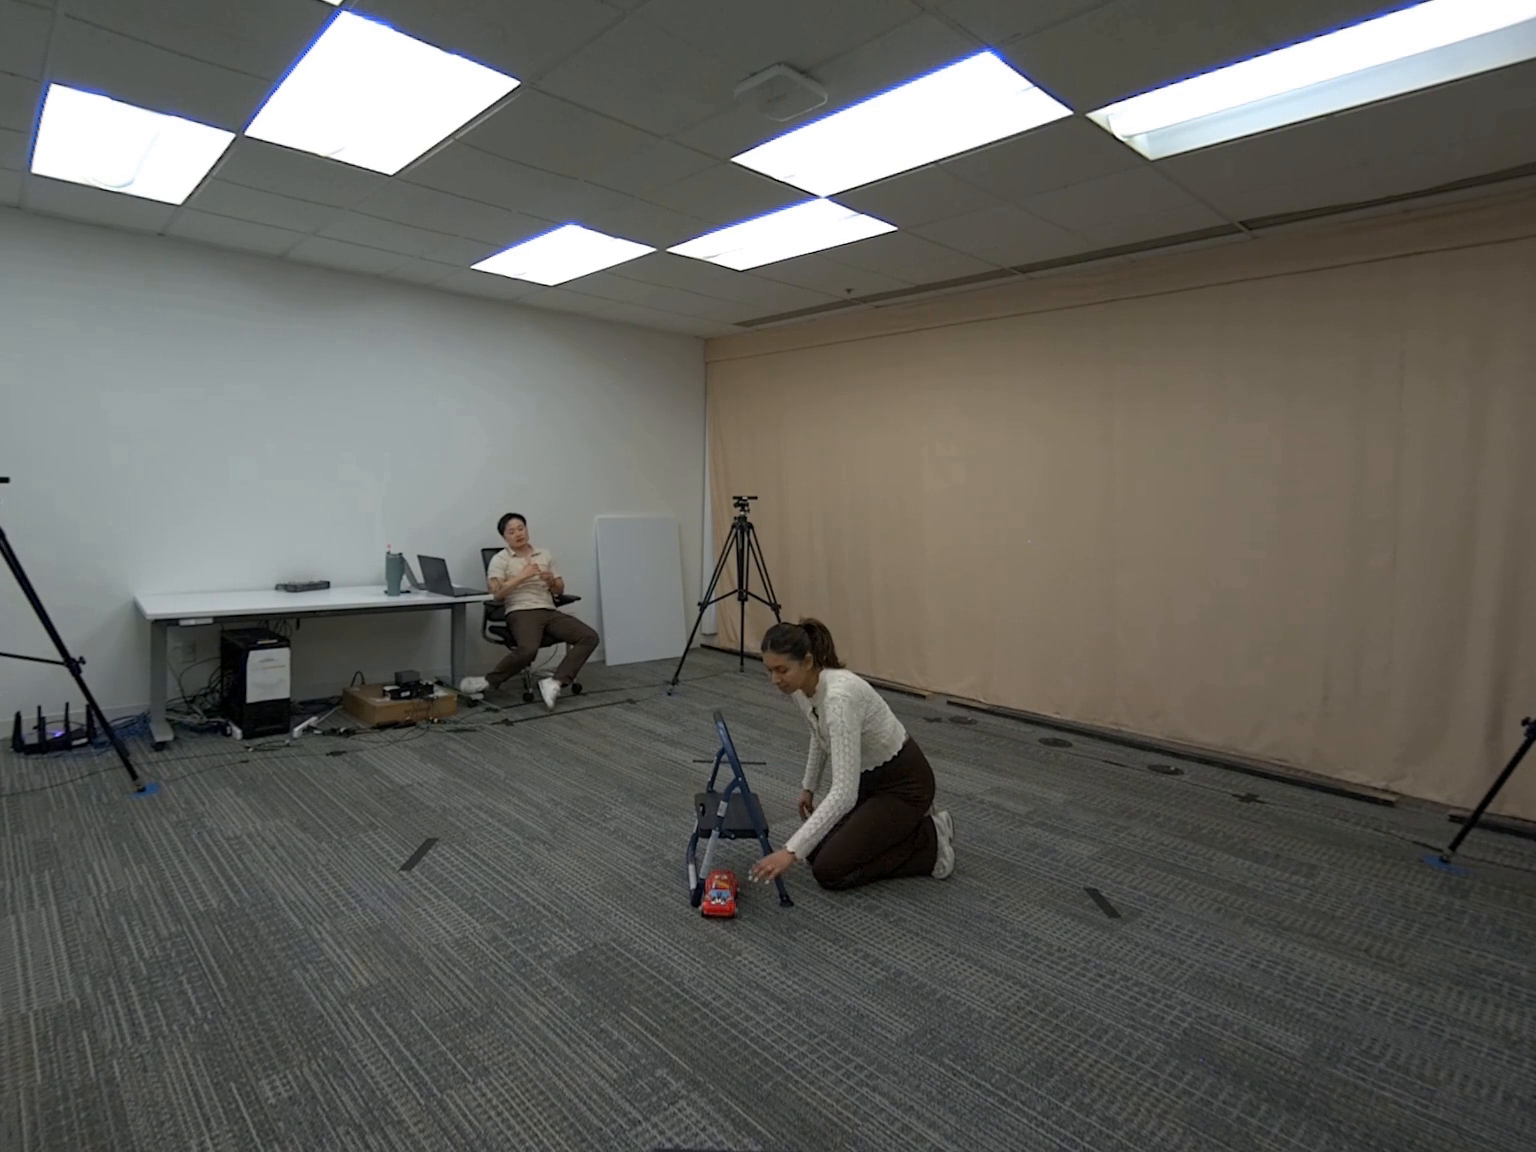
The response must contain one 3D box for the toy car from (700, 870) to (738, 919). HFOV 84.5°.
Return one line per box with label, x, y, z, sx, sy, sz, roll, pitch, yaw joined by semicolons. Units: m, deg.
toy car;-0.167;1.095;2.887;0.130;0.082;0.257;1;17;1
